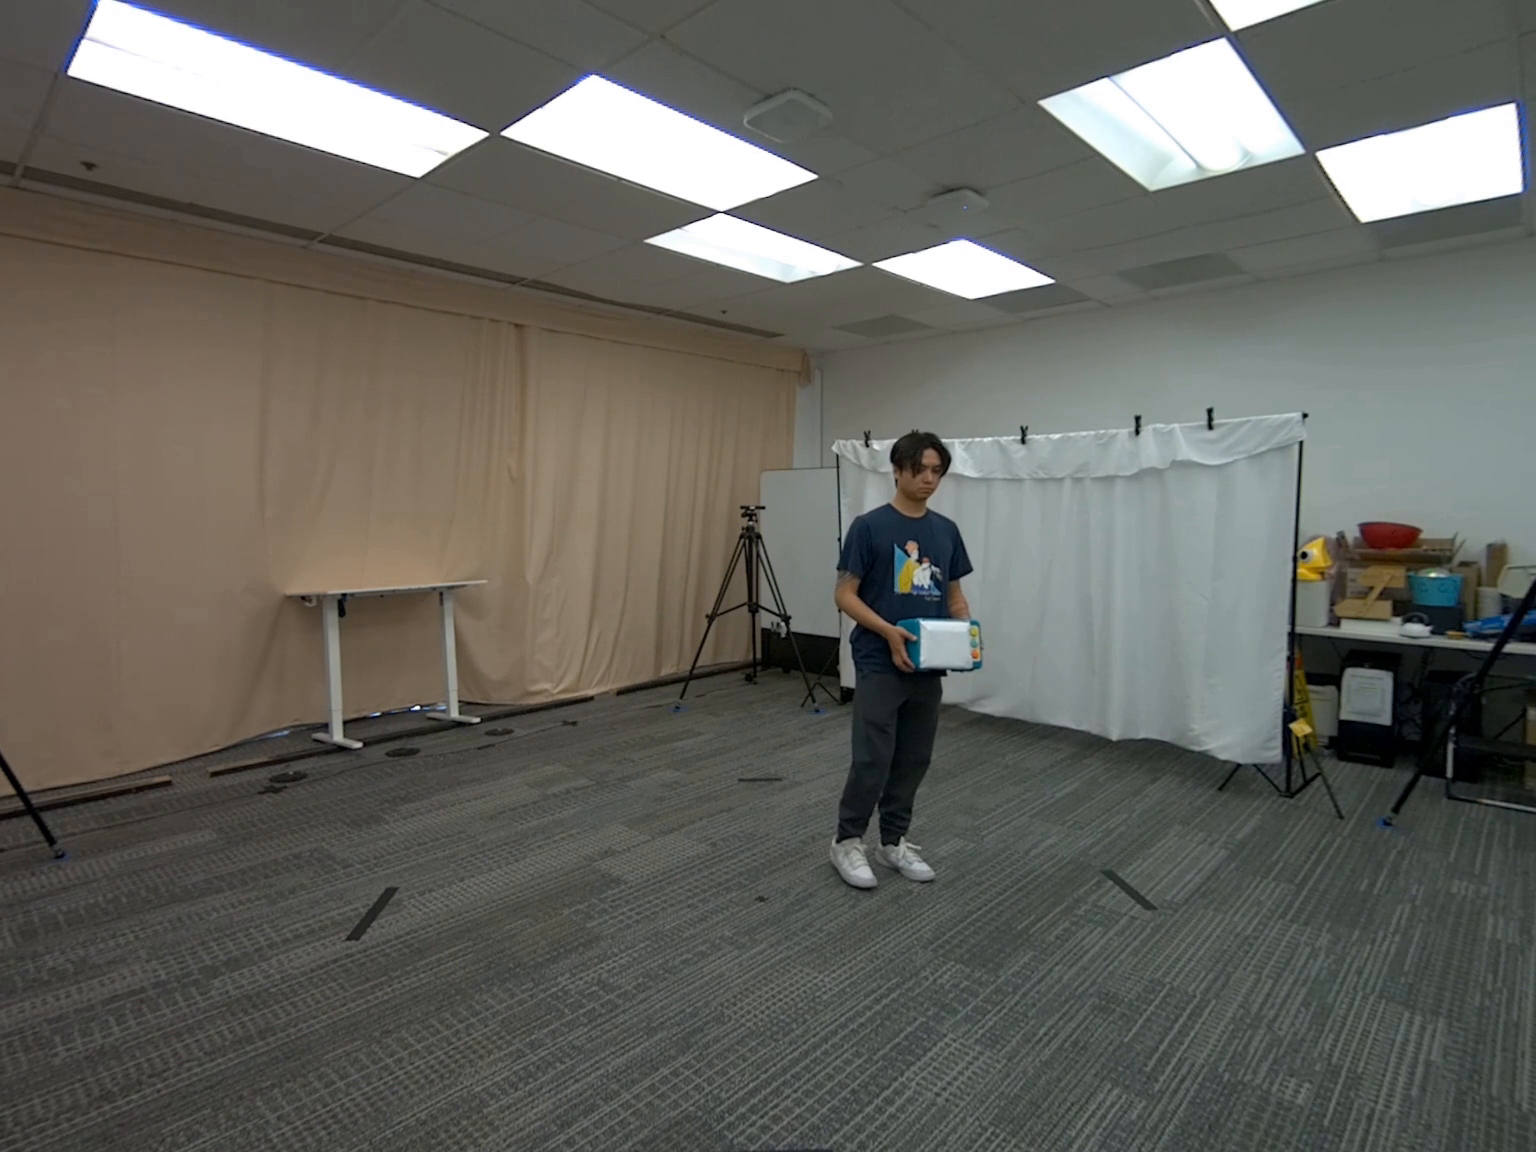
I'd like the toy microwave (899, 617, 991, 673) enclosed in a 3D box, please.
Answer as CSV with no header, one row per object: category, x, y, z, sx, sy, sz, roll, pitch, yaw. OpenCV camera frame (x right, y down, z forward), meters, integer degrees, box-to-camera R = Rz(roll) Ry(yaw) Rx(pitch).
toy microwave,0.612,0.241,2.987,0.280,0.185,0.155,3,-10,-22
